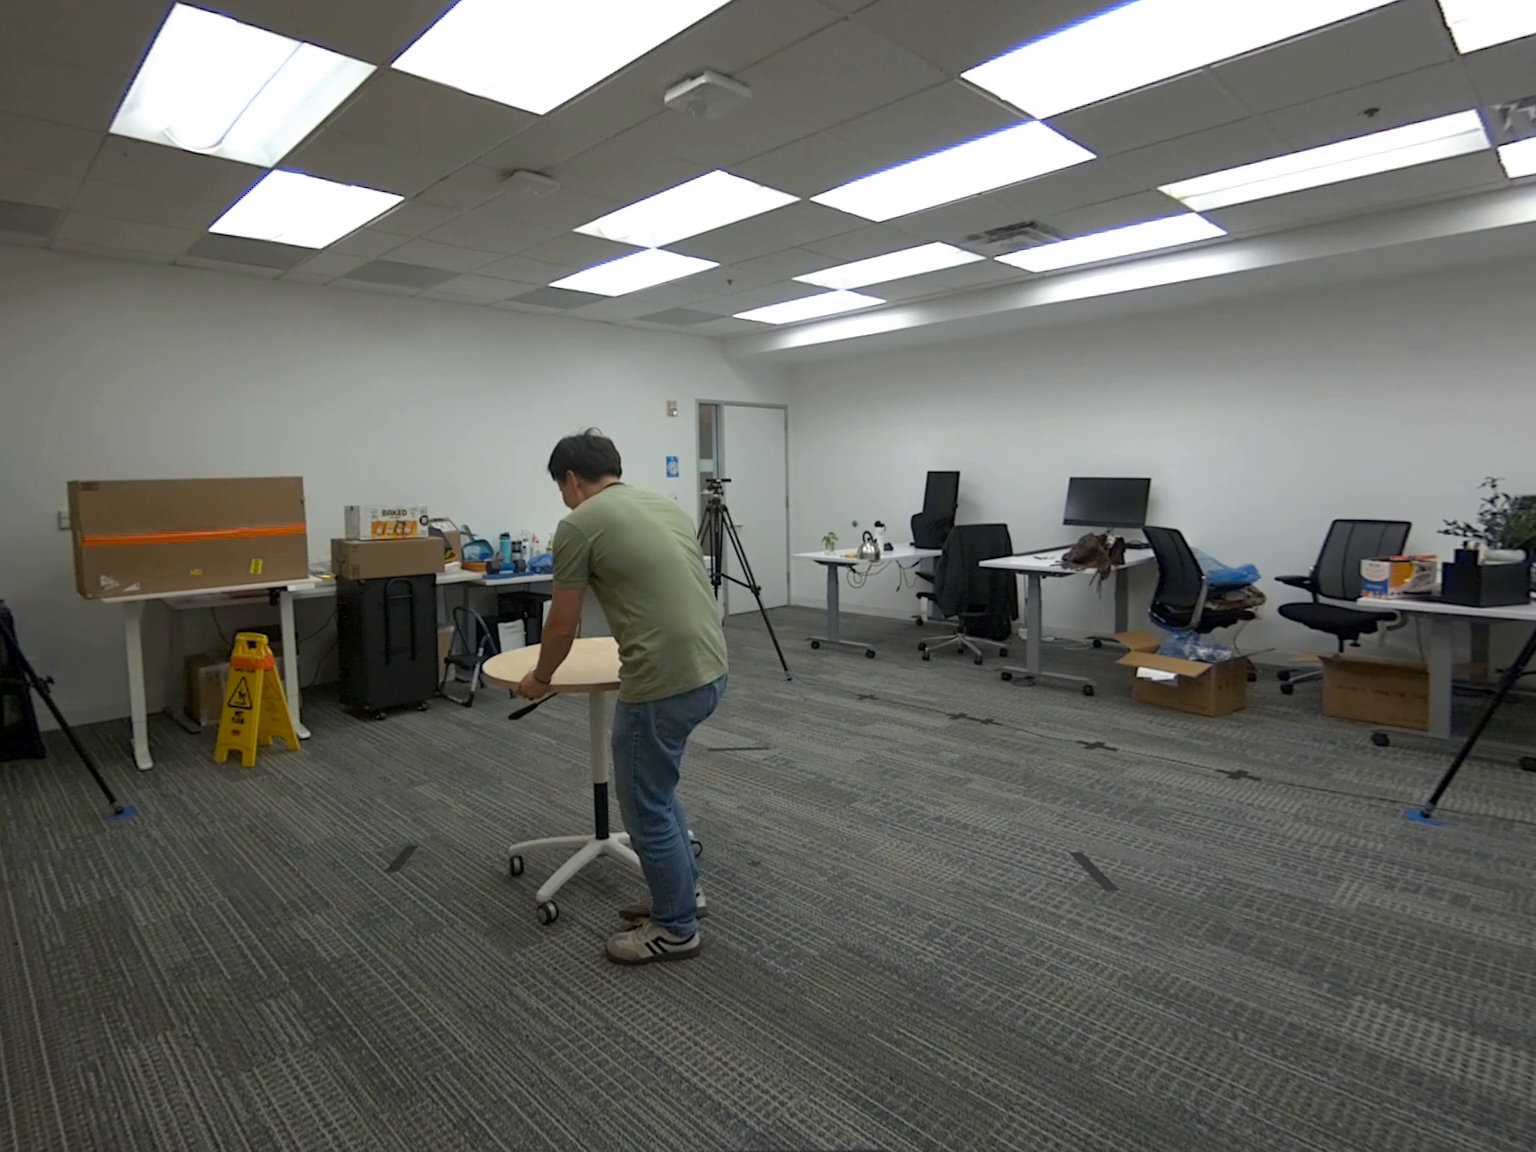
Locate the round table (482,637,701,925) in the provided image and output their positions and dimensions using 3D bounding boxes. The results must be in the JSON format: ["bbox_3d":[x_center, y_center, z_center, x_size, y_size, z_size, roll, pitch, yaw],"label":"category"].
[{"bbox_3d":[-0.583,0.676,3.003,0.763,0.791,0.768,-2,5,-2],"label":"round table"}]
